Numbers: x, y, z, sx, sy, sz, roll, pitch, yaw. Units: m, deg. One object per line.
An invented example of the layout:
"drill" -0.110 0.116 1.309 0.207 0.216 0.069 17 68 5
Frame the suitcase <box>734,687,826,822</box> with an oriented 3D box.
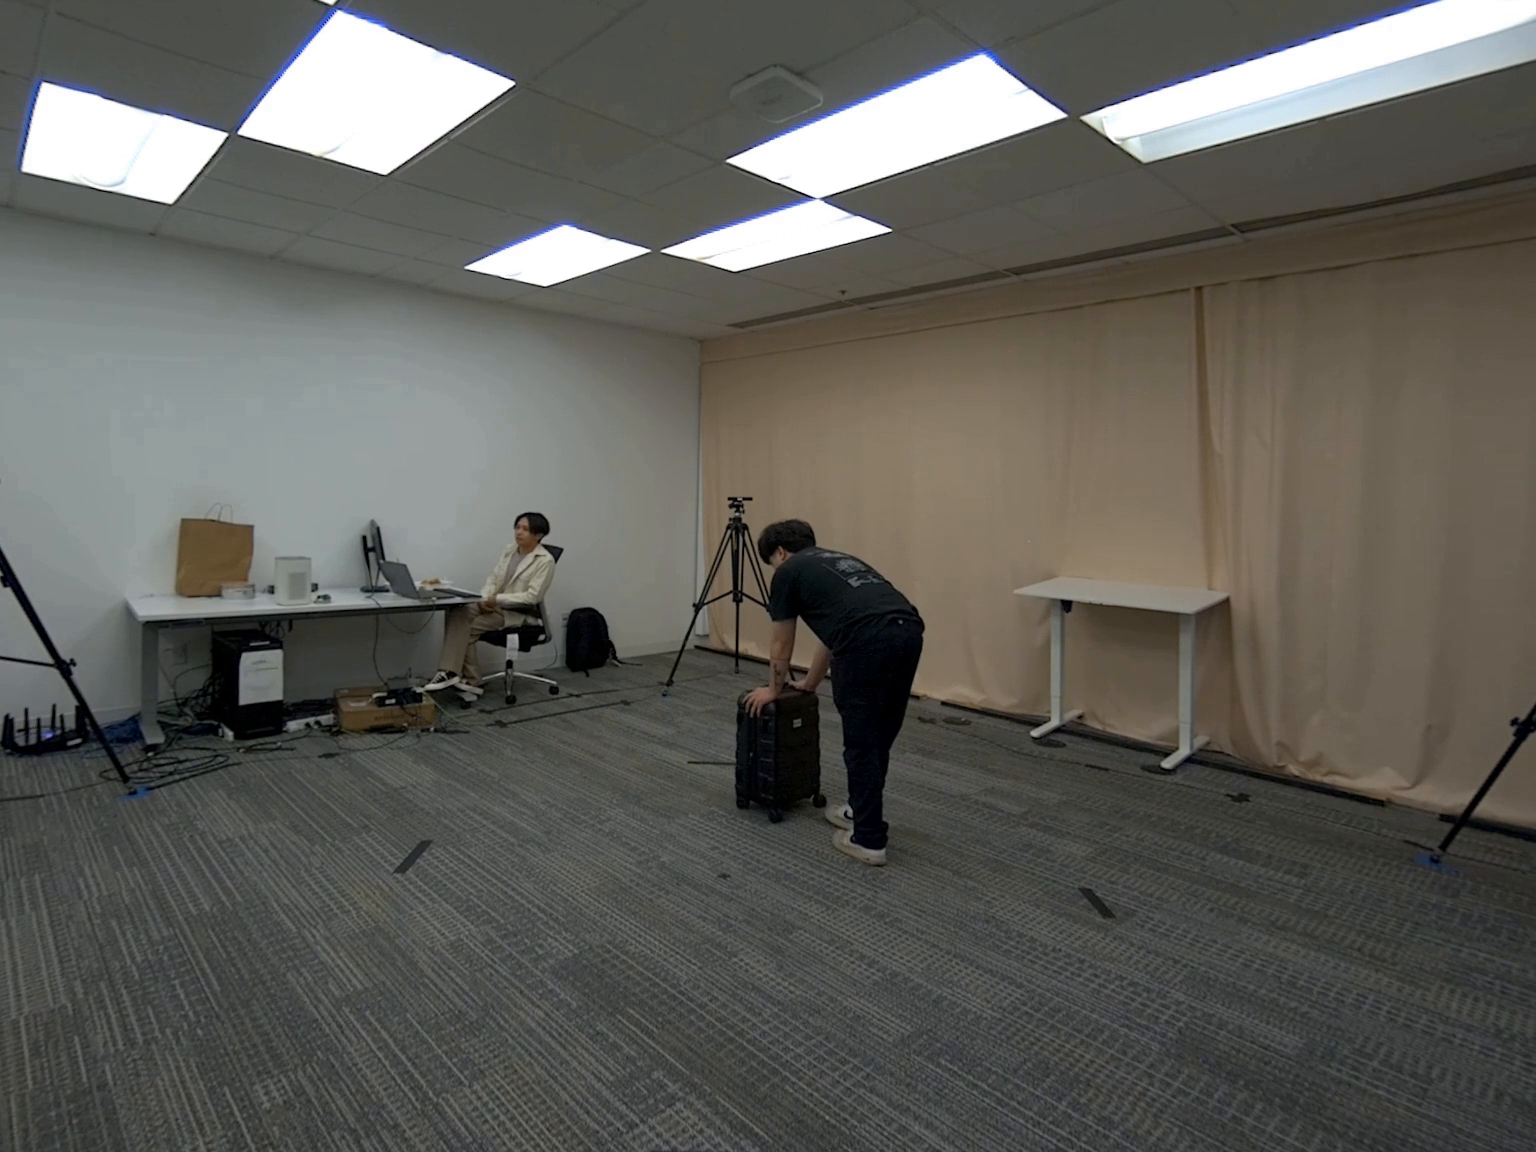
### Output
"suitcase" 0.040 0.773 3.839 0.254 0.548 0.367 2 4 43
